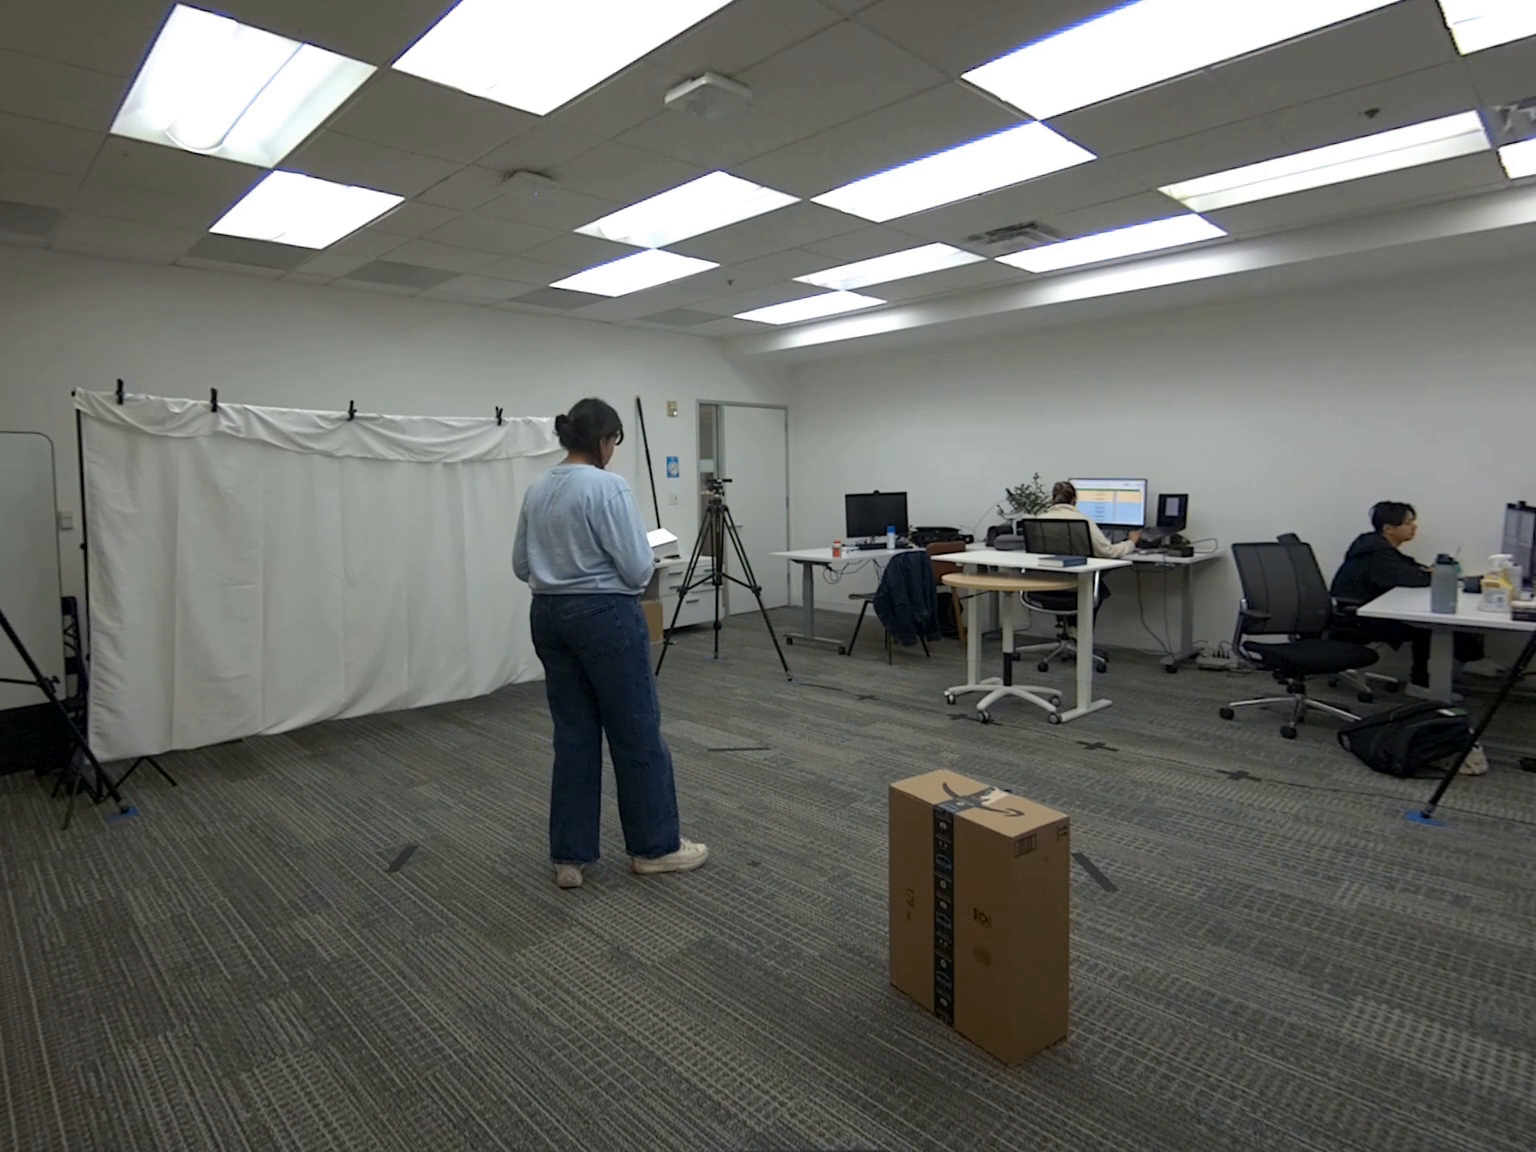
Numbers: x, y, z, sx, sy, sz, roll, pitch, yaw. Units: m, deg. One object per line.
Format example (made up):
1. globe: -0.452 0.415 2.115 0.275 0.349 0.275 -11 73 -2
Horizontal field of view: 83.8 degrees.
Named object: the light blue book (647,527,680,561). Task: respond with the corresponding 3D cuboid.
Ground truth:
1. light blue book: -0.493 -0.105 3.292 0.257 0.058 0.197 -18 22 -21
